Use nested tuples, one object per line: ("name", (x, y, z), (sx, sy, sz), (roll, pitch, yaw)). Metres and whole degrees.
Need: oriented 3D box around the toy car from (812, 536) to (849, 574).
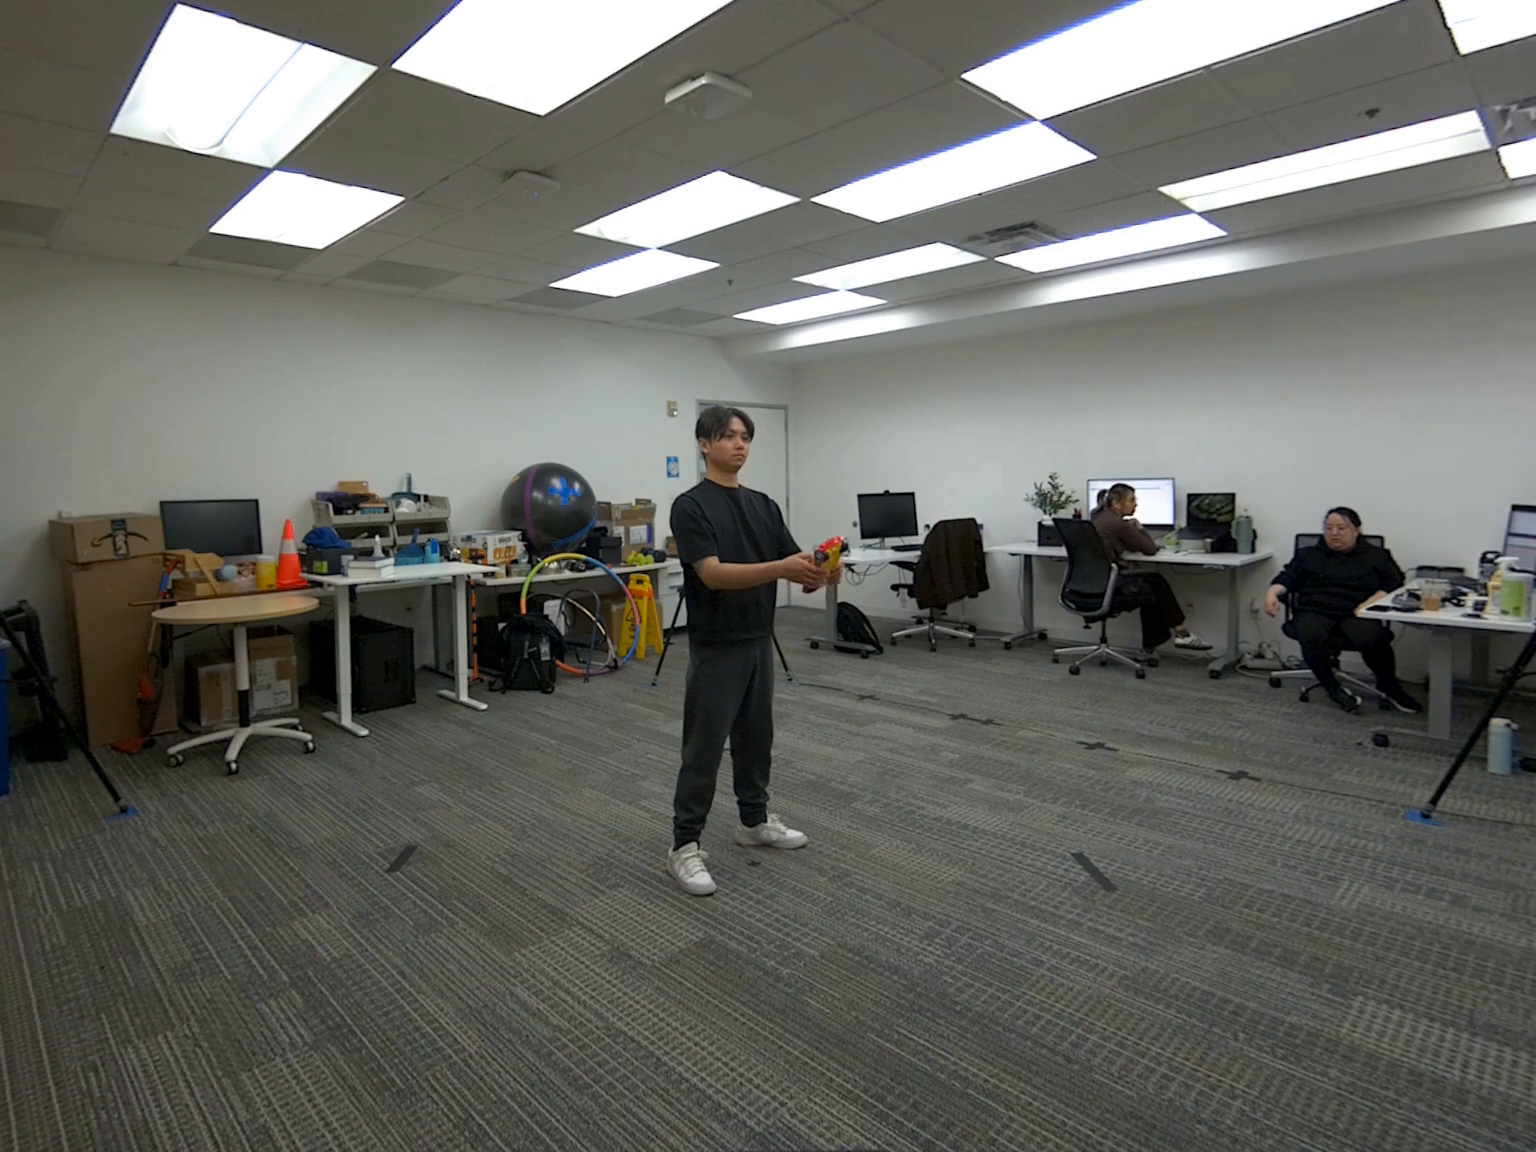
("toy car", (0.172, -0.021, 2.788), (0.129, 0.085, 0.252), (-27, -18, -31))
